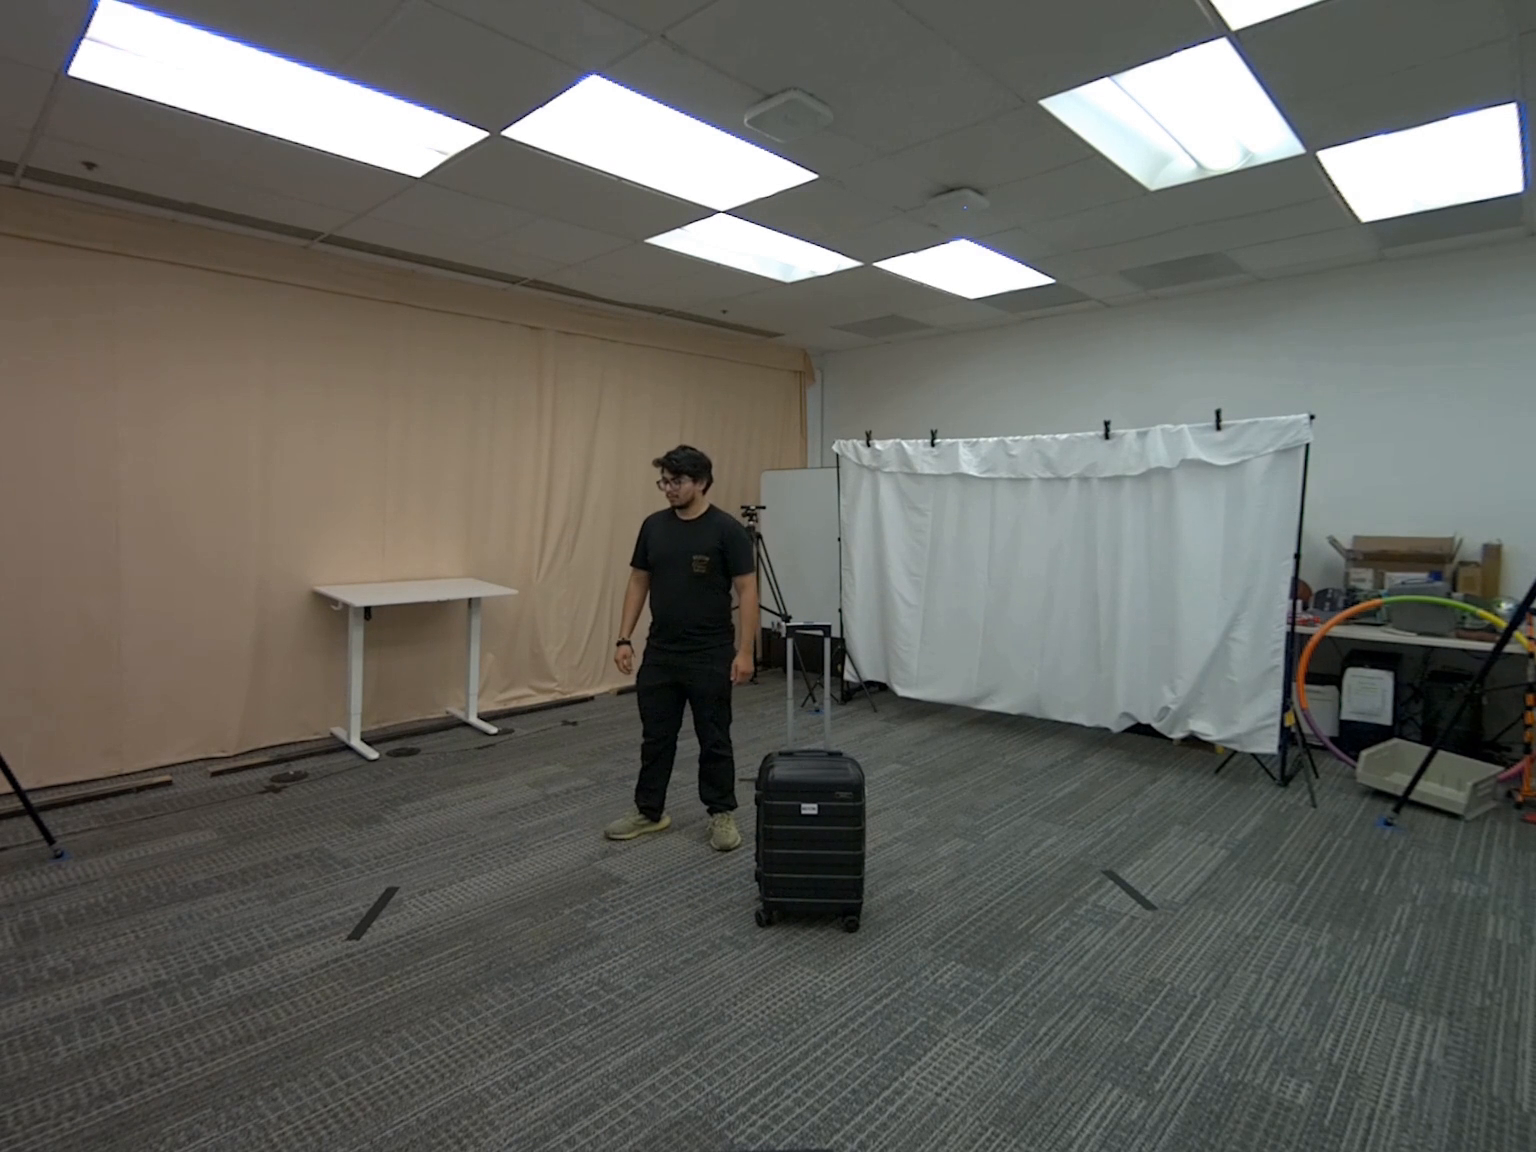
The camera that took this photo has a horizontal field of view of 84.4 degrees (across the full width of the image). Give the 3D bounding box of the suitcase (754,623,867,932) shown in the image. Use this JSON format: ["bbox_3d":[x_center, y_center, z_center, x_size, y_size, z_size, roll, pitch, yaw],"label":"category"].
[{"bbox_3d":[0.152,0.678,2.844,0.385,0.976,0.257,0,5,1],"label":"suitcase"}]
